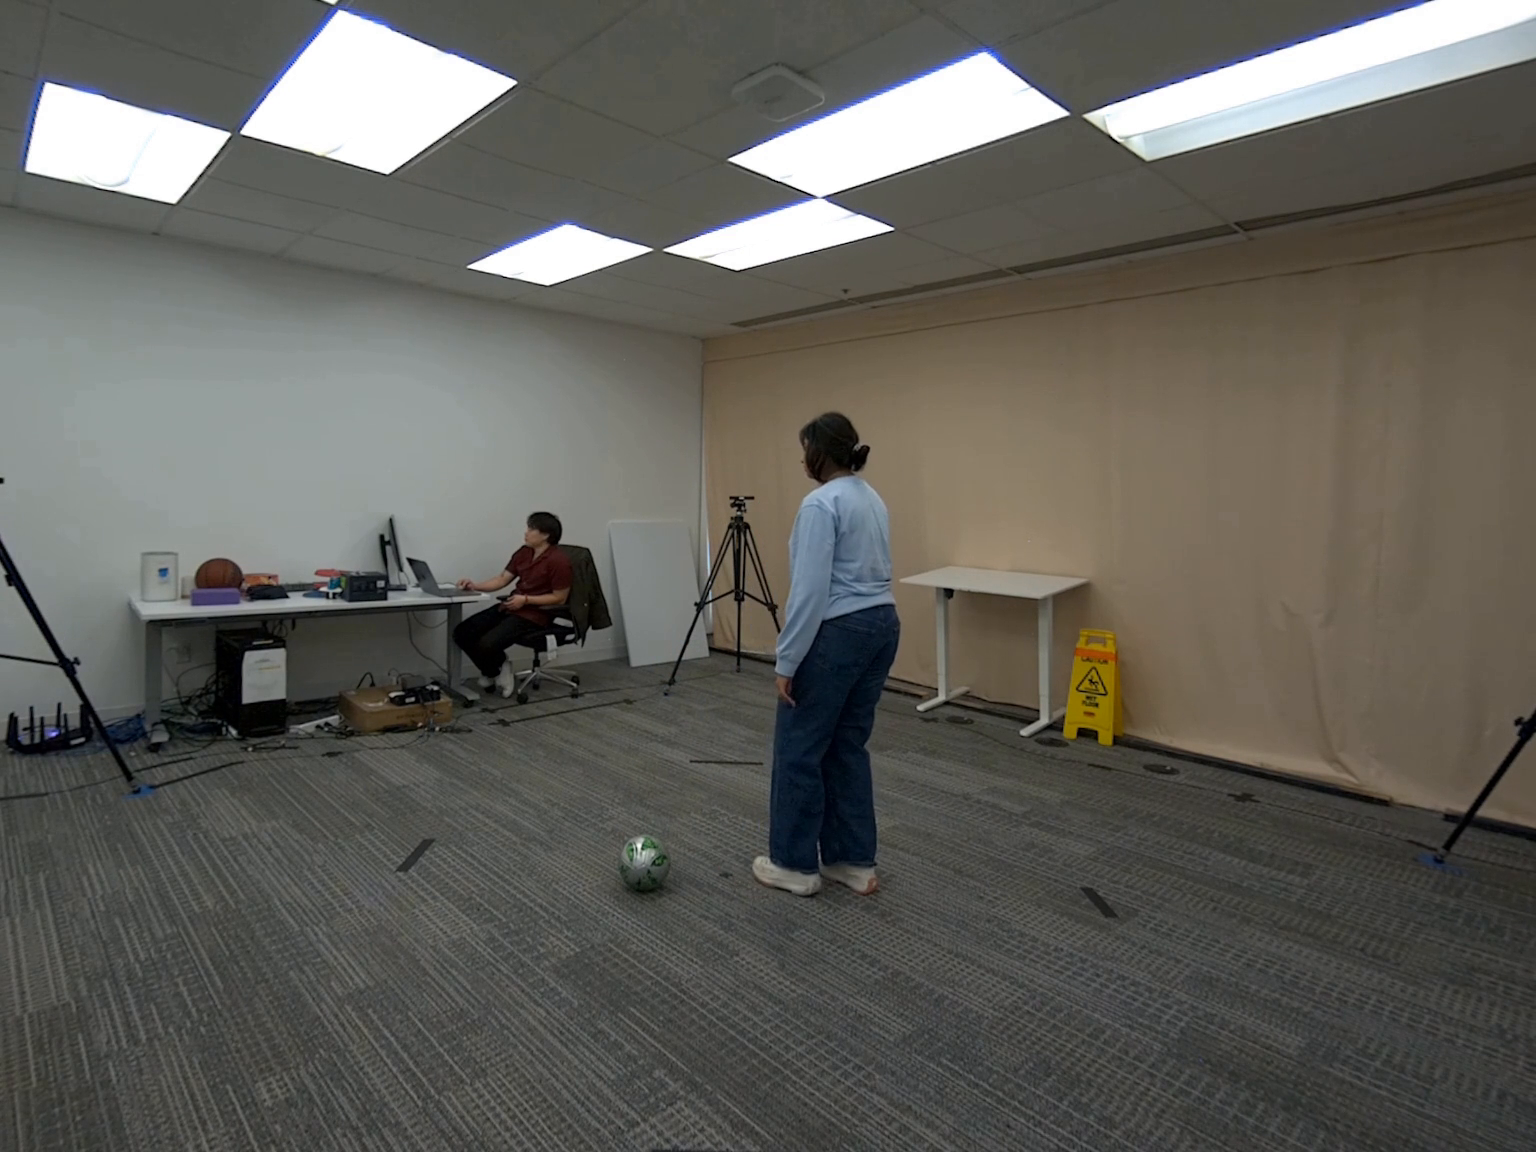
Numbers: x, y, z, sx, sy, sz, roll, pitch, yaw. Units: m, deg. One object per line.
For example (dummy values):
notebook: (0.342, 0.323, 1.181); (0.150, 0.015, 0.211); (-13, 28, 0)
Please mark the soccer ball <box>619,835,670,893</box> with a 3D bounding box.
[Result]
soccer ball: (-0.440, 1.011, 2.991); (0.187, 0.187, 0.188); (1, 4, -1)
